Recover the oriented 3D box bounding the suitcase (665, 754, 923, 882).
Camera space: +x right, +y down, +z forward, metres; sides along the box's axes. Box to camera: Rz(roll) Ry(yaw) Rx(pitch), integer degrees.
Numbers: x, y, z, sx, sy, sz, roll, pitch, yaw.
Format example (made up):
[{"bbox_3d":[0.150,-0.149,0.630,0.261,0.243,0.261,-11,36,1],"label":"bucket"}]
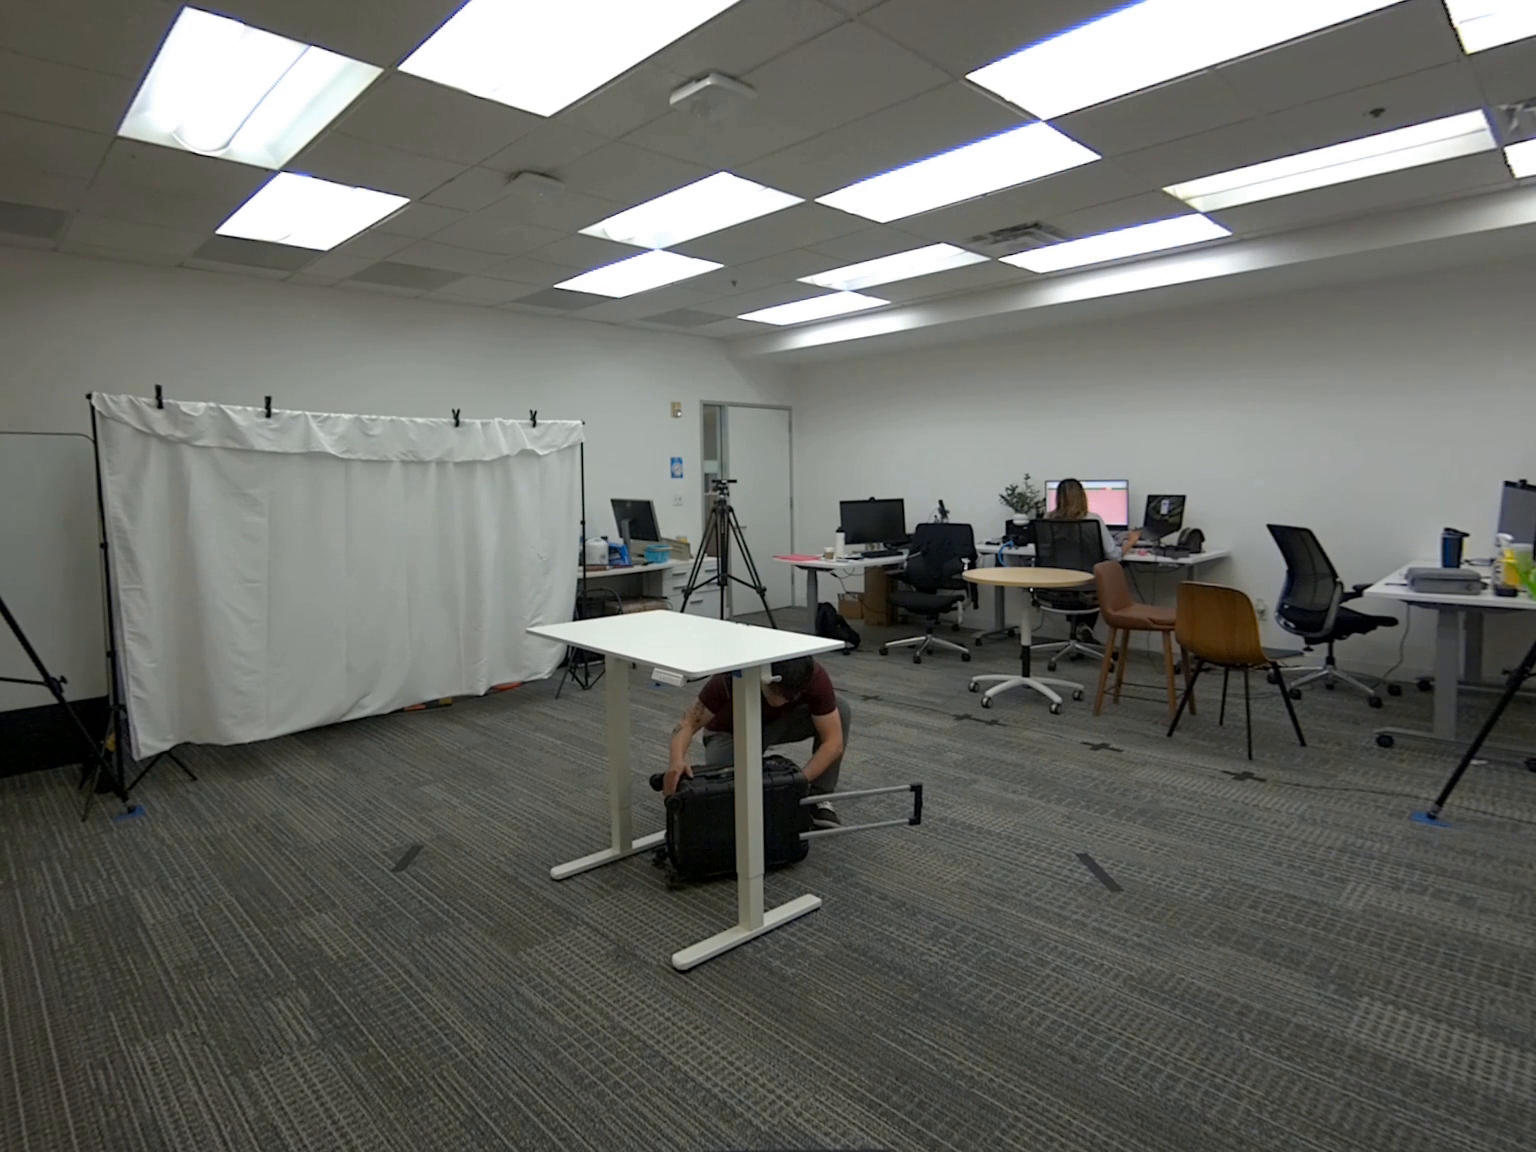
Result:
[{"bbox_3d":[0.065,0.847,3.141,0.963,0.381,0.263,-5,8,-19],"label":"suitcase"}]
